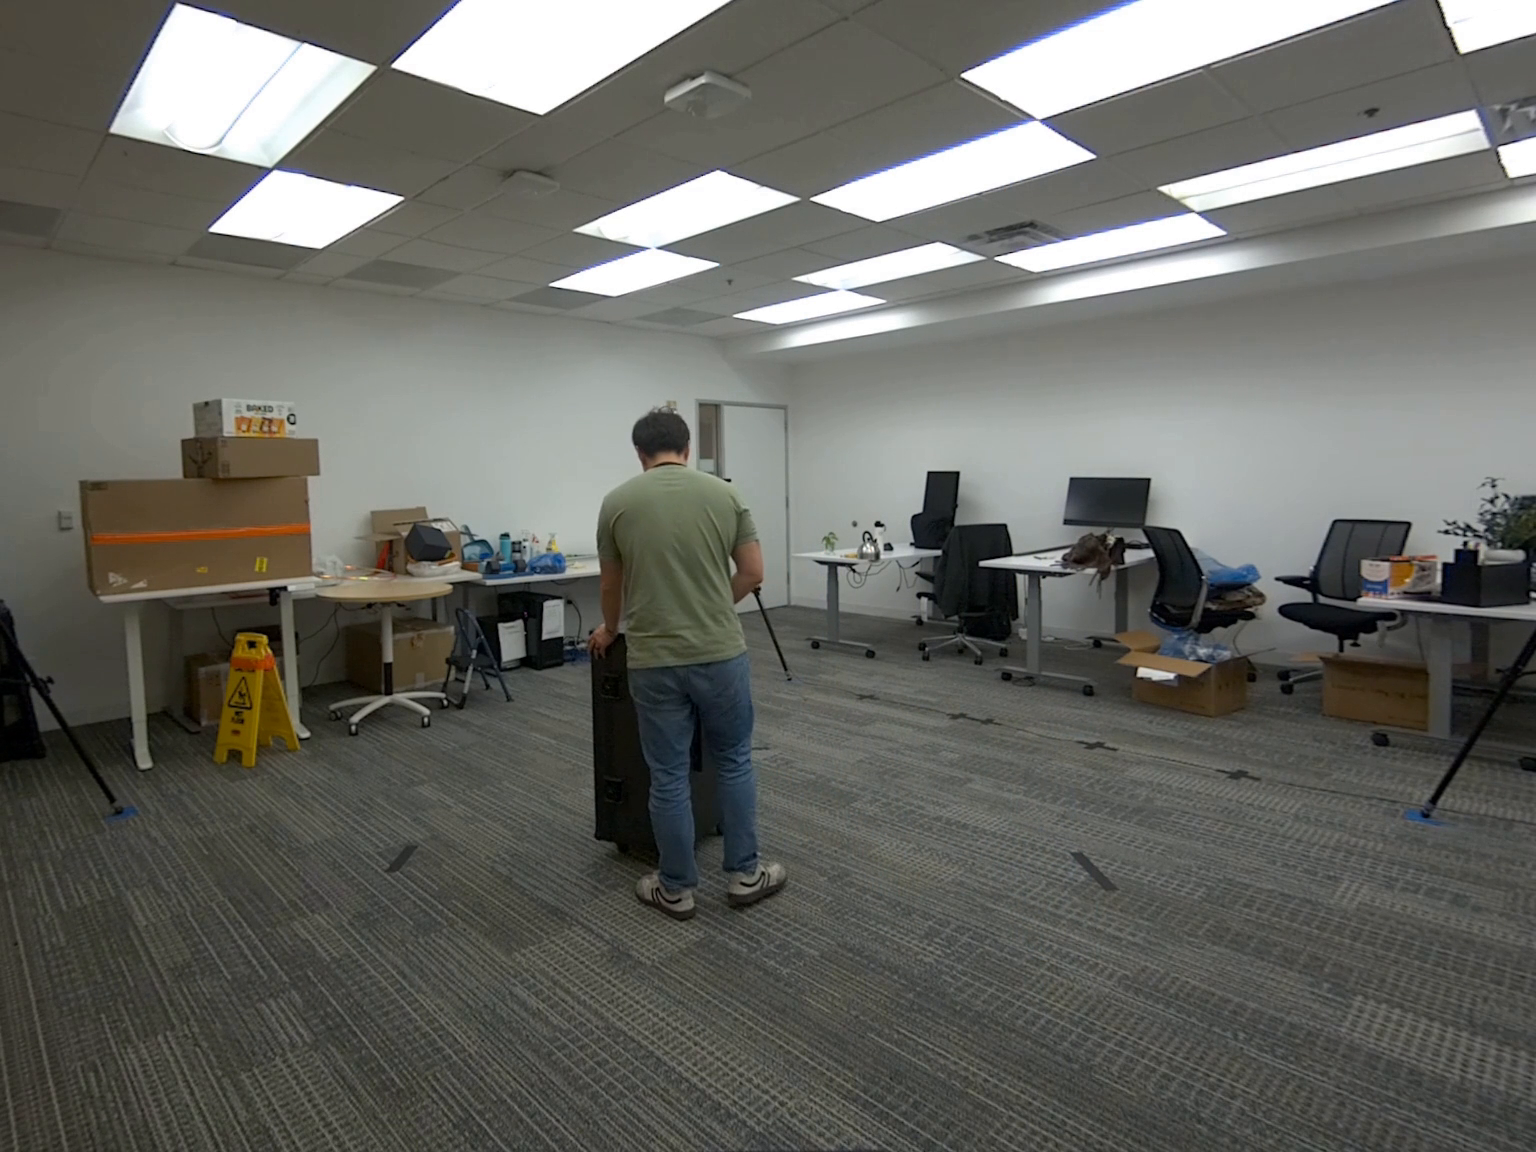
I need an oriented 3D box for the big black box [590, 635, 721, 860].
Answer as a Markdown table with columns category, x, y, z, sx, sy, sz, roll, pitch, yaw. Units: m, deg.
| category | x | y | z | sx | sy | sz | roll | pitch | yaw |
| --- | --- | --- | --- | --- | --- | --- | --- | --- | --- |
| big black box | -0.377 | 0.600 | 3.284 | 0.406 | 0.859 | 0.511 | 1 | 4 | 26 |
